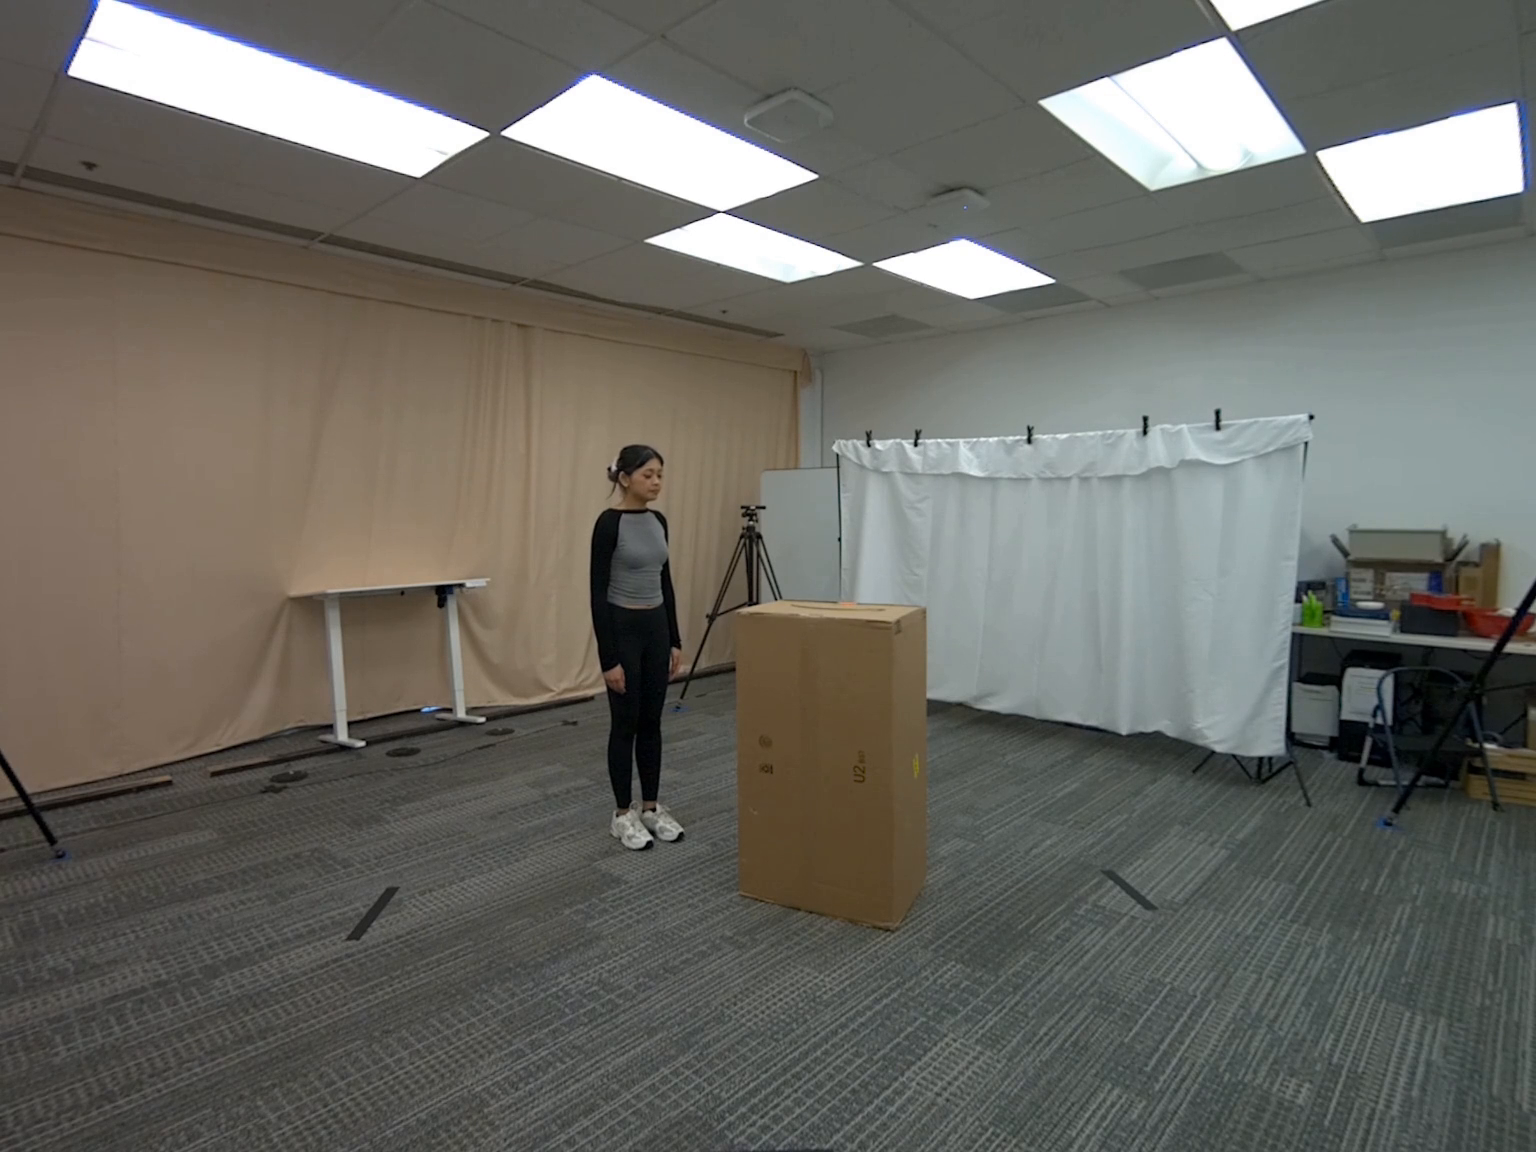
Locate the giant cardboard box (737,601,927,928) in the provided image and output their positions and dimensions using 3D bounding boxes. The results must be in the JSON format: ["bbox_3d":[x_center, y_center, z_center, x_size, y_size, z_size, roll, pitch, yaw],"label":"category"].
[{"bbox_3d":[0.241,0.630,3.043,0.599,1.024,0.436,1,4,26],"label":"giant cardboard box"}]
